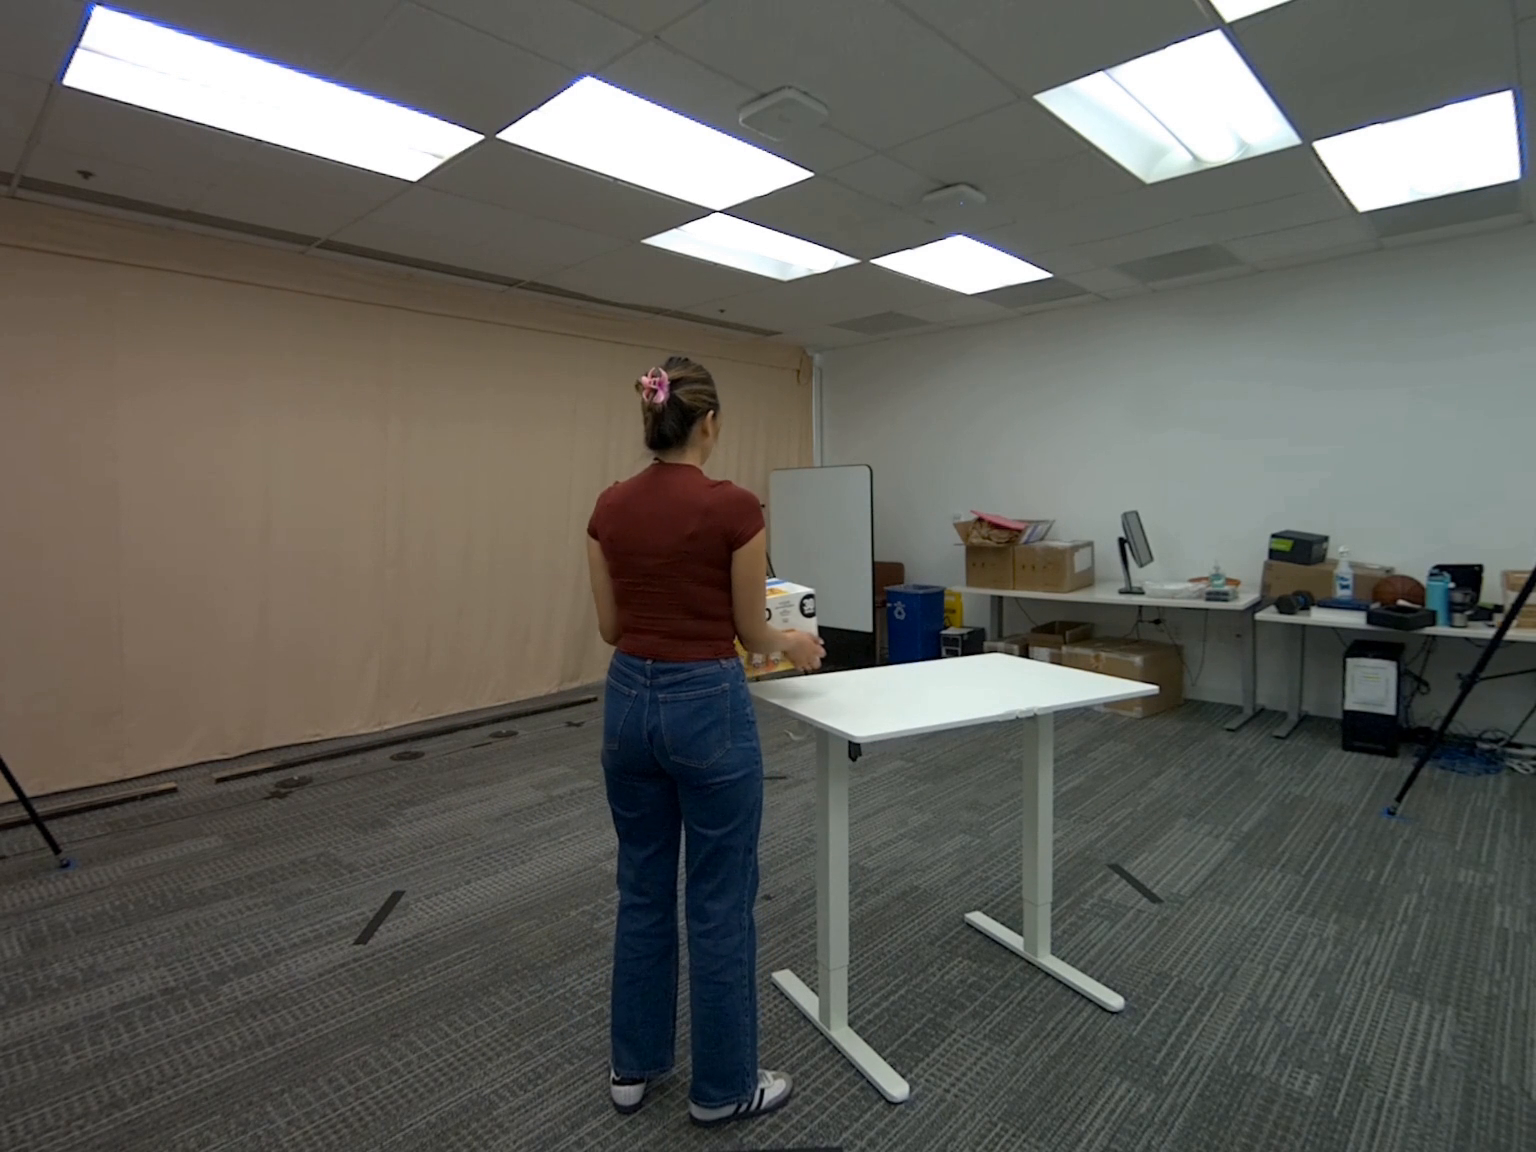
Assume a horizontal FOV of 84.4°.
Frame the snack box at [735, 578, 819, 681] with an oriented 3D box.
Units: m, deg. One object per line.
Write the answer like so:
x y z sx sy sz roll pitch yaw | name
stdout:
-0.117 0.144 2.290 0.397 0.204 0.350 -10 12 -24 | snack box
